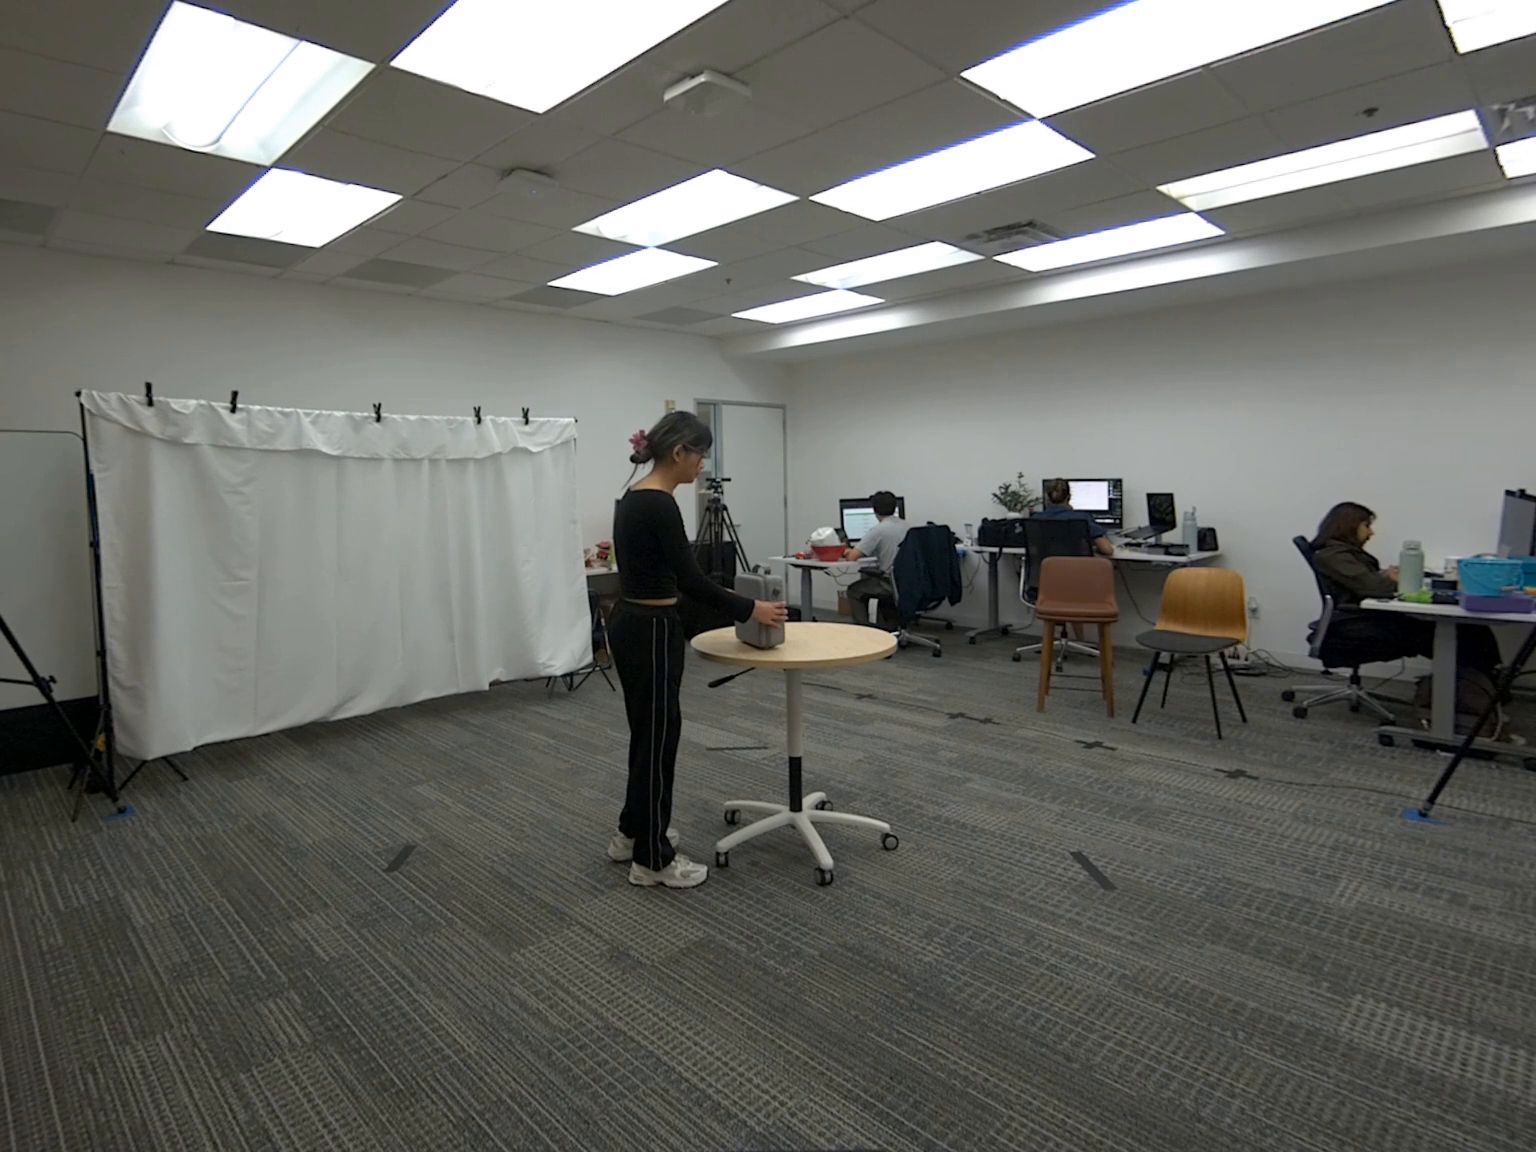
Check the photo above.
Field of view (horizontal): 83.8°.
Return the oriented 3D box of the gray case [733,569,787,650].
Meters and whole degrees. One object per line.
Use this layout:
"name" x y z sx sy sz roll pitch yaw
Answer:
"gray case" -0.036 0.114 3.099 0.102 0.260 0.262 -2 2 -22
